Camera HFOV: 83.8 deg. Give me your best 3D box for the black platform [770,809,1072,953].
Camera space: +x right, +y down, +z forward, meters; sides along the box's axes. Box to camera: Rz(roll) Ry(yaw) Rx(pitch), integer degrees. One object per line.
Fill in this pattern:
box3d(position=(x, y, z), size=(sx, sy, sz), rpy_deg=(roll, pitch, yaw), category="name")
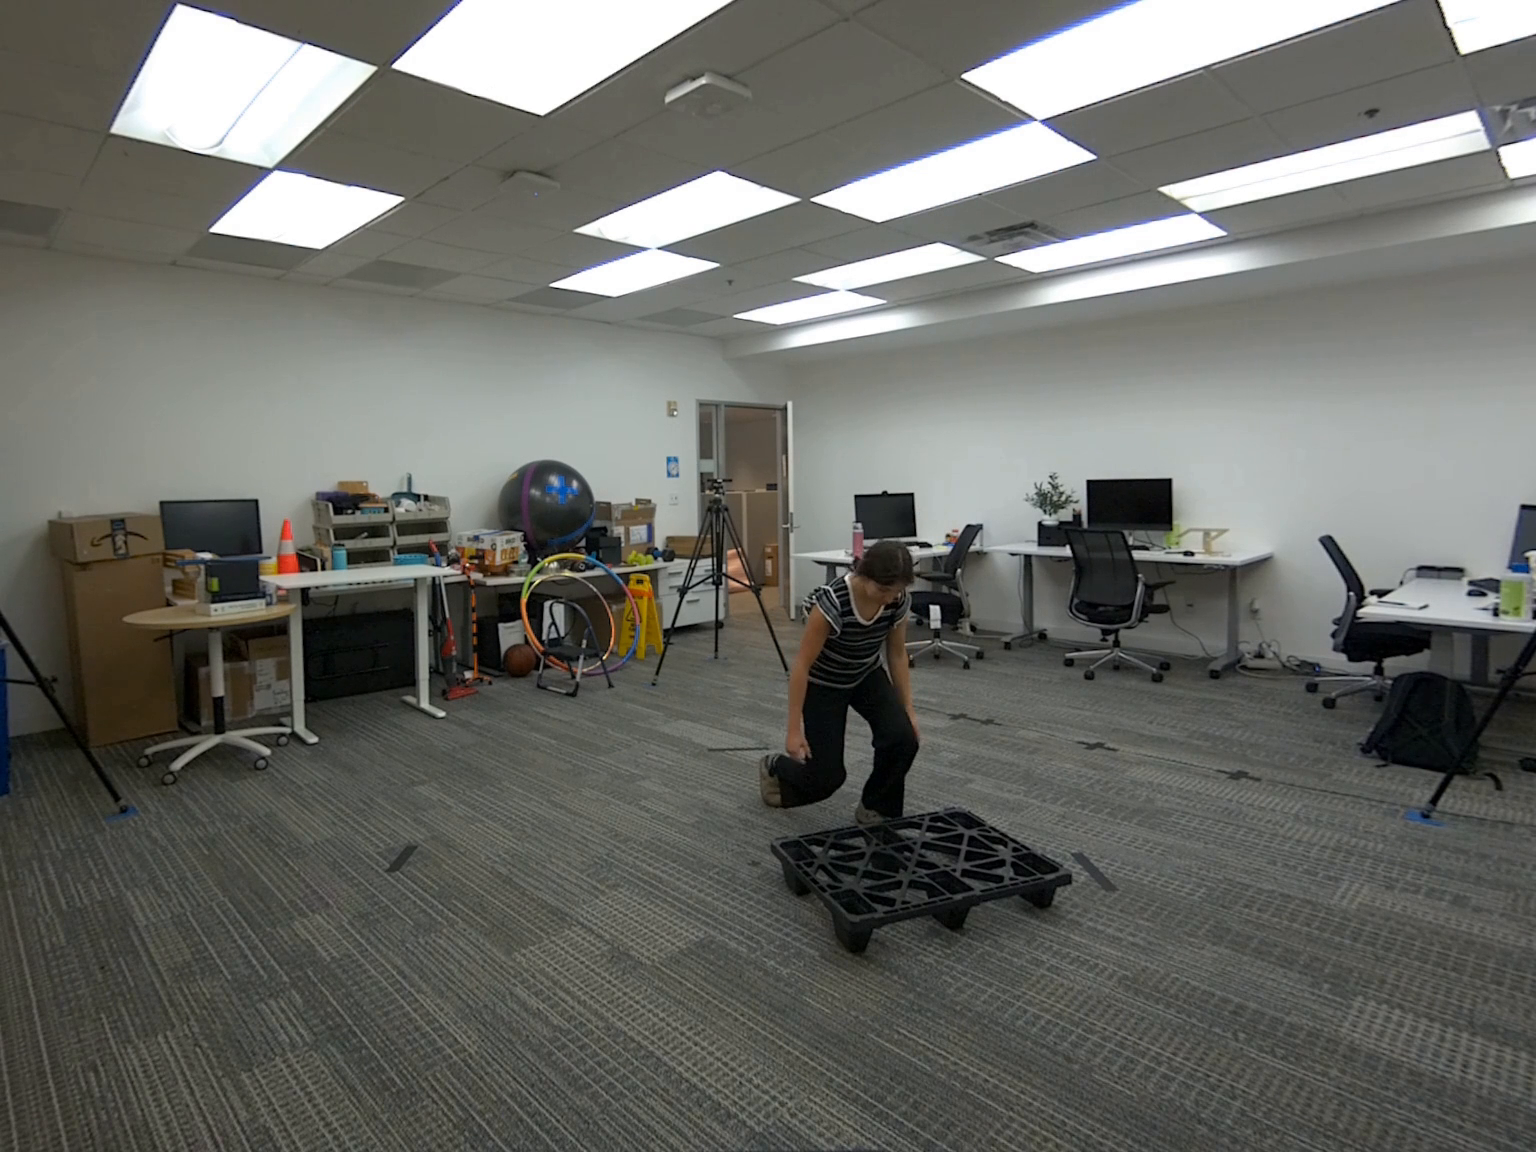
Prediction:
box3d(position=(0.494, 0.998, 2.847), size=(0.791, 0.142, 0.619), rpy_deg=(-4, 8, -21), category="black platform")
